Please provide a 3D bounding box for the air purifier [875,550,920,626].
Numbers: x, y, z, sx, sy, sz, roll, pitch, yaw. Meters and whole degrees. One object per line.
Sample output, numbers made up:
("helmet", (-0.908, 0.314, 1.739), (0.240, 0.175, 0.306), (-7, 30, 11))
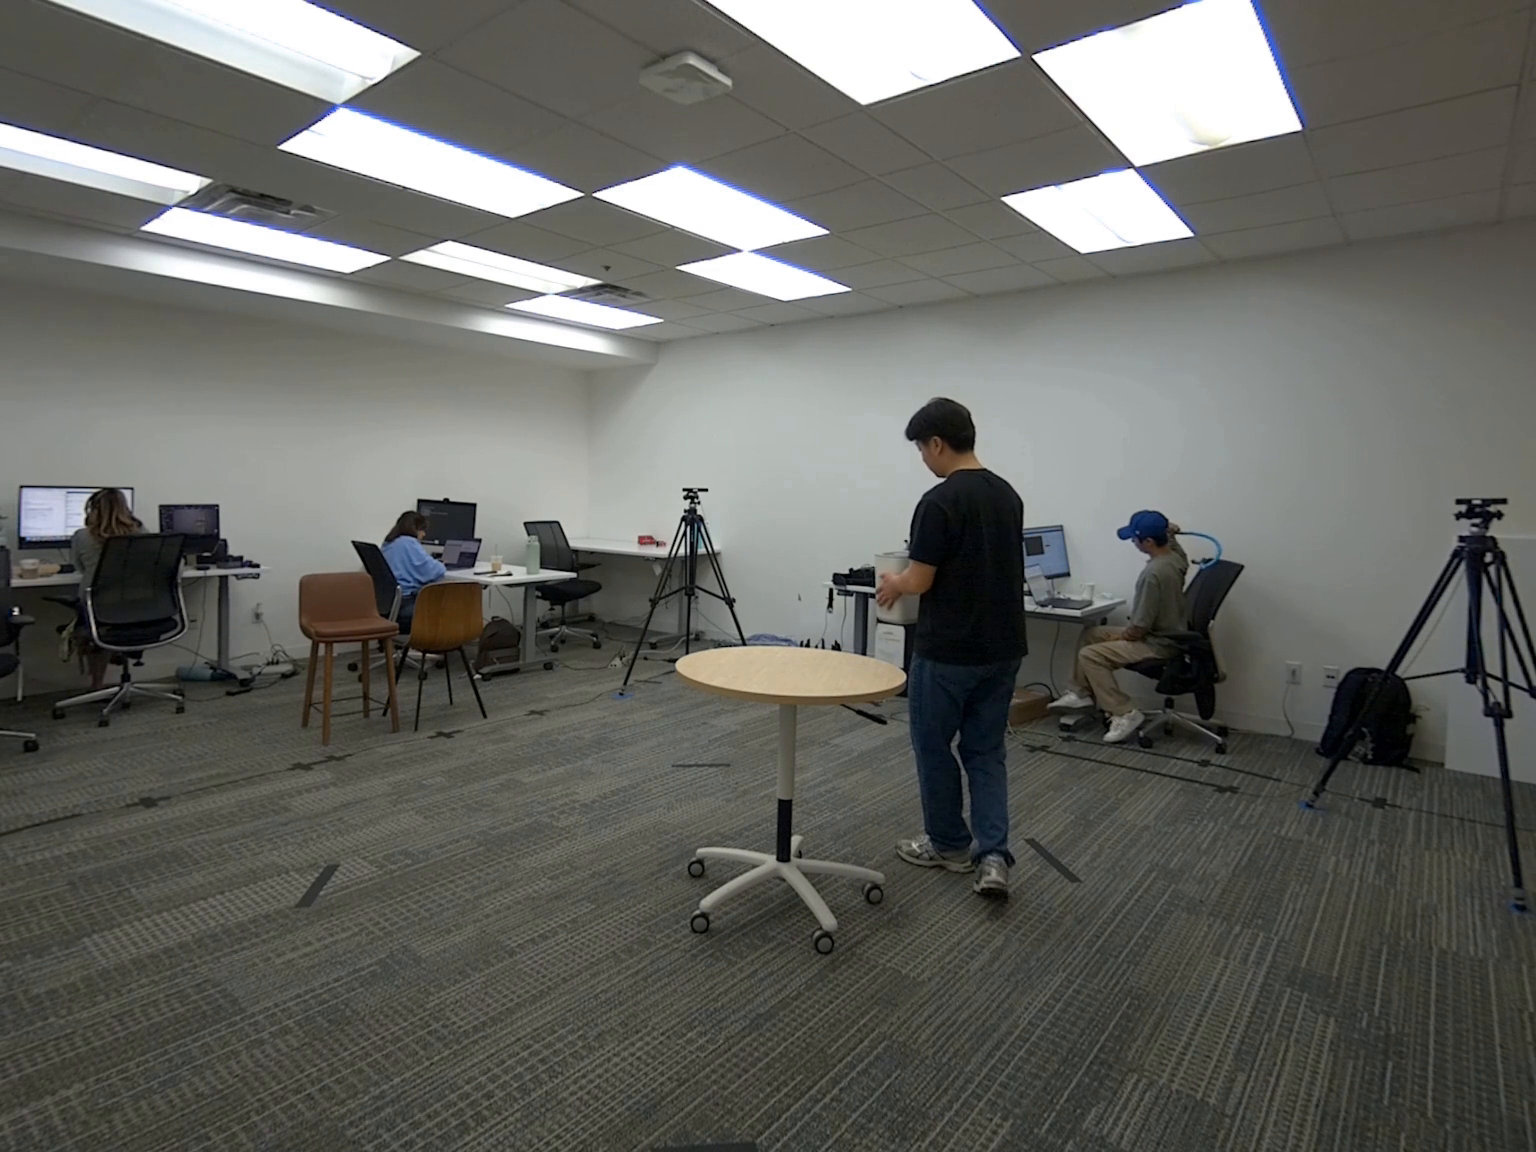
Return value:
("air purifier", (0.517, 0.037, 3.313), (0.167, 0.263, 0.177), (-6, 8, -33))
